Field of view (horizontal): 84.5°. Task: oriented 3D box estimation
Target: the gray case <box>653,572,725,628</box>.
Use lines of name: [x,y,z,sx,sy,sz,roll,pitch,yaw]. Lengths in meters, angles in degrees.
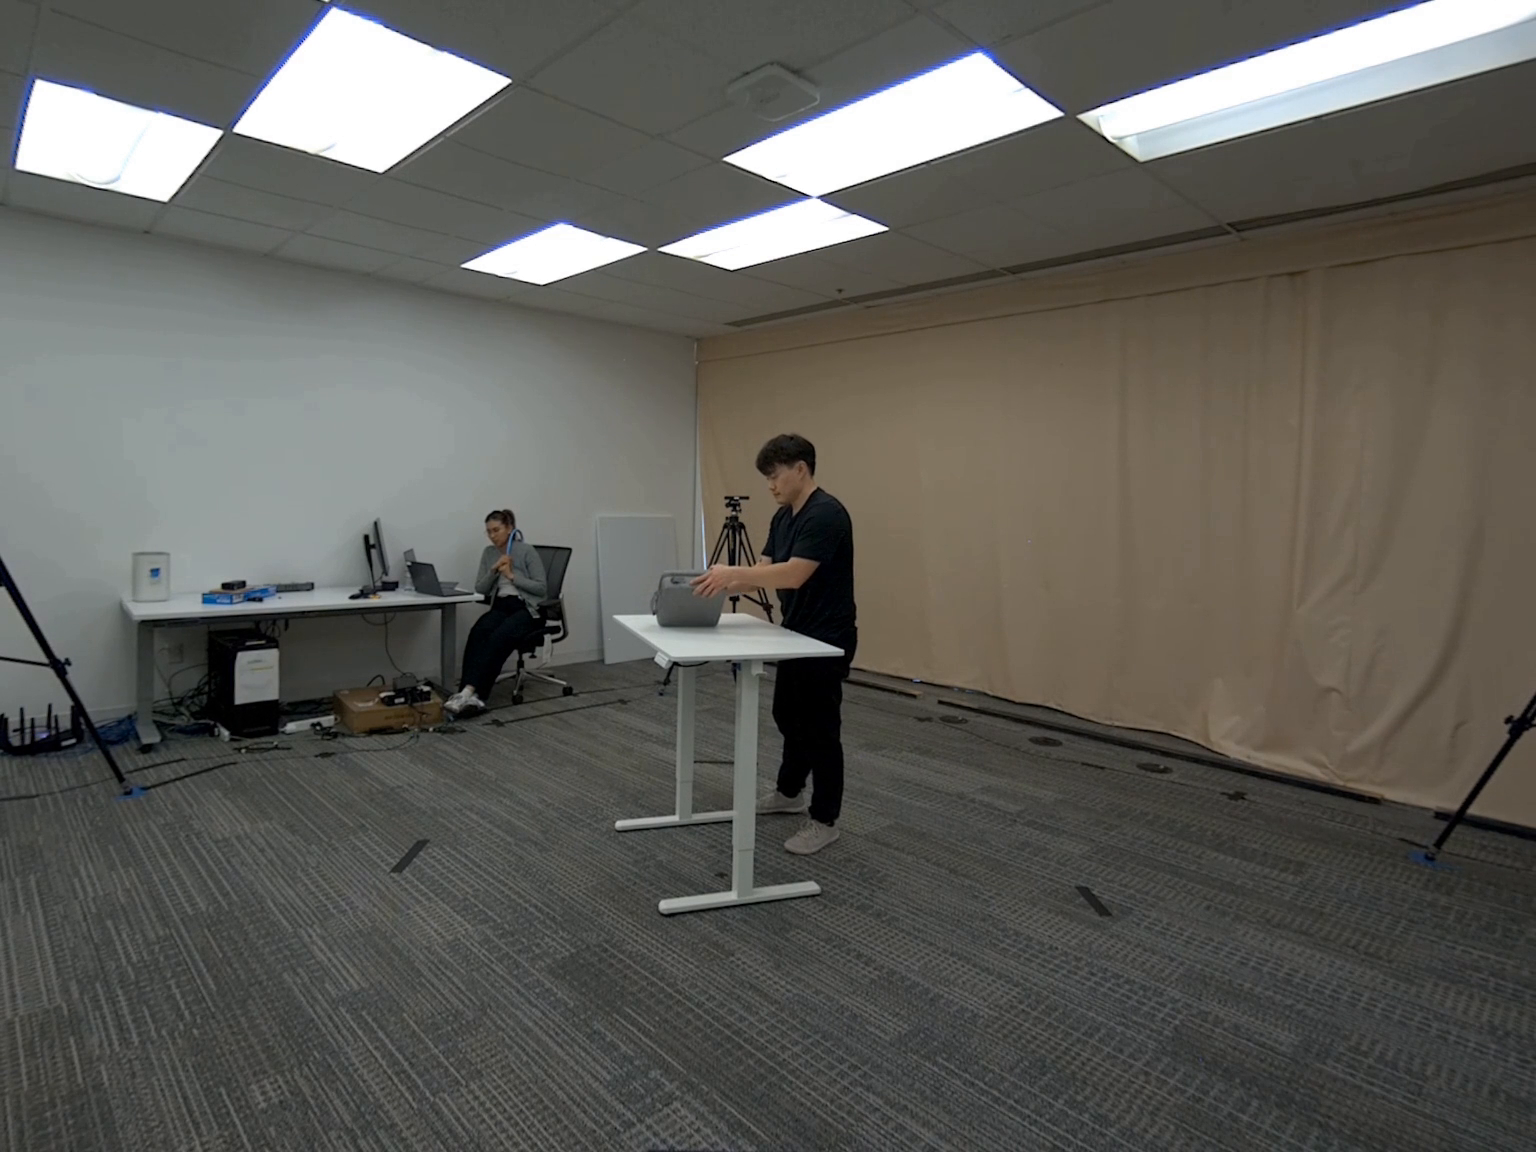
gray case: [-0.305,0.085,3.253,0.258,0.252,0.107,2,43,-11]
